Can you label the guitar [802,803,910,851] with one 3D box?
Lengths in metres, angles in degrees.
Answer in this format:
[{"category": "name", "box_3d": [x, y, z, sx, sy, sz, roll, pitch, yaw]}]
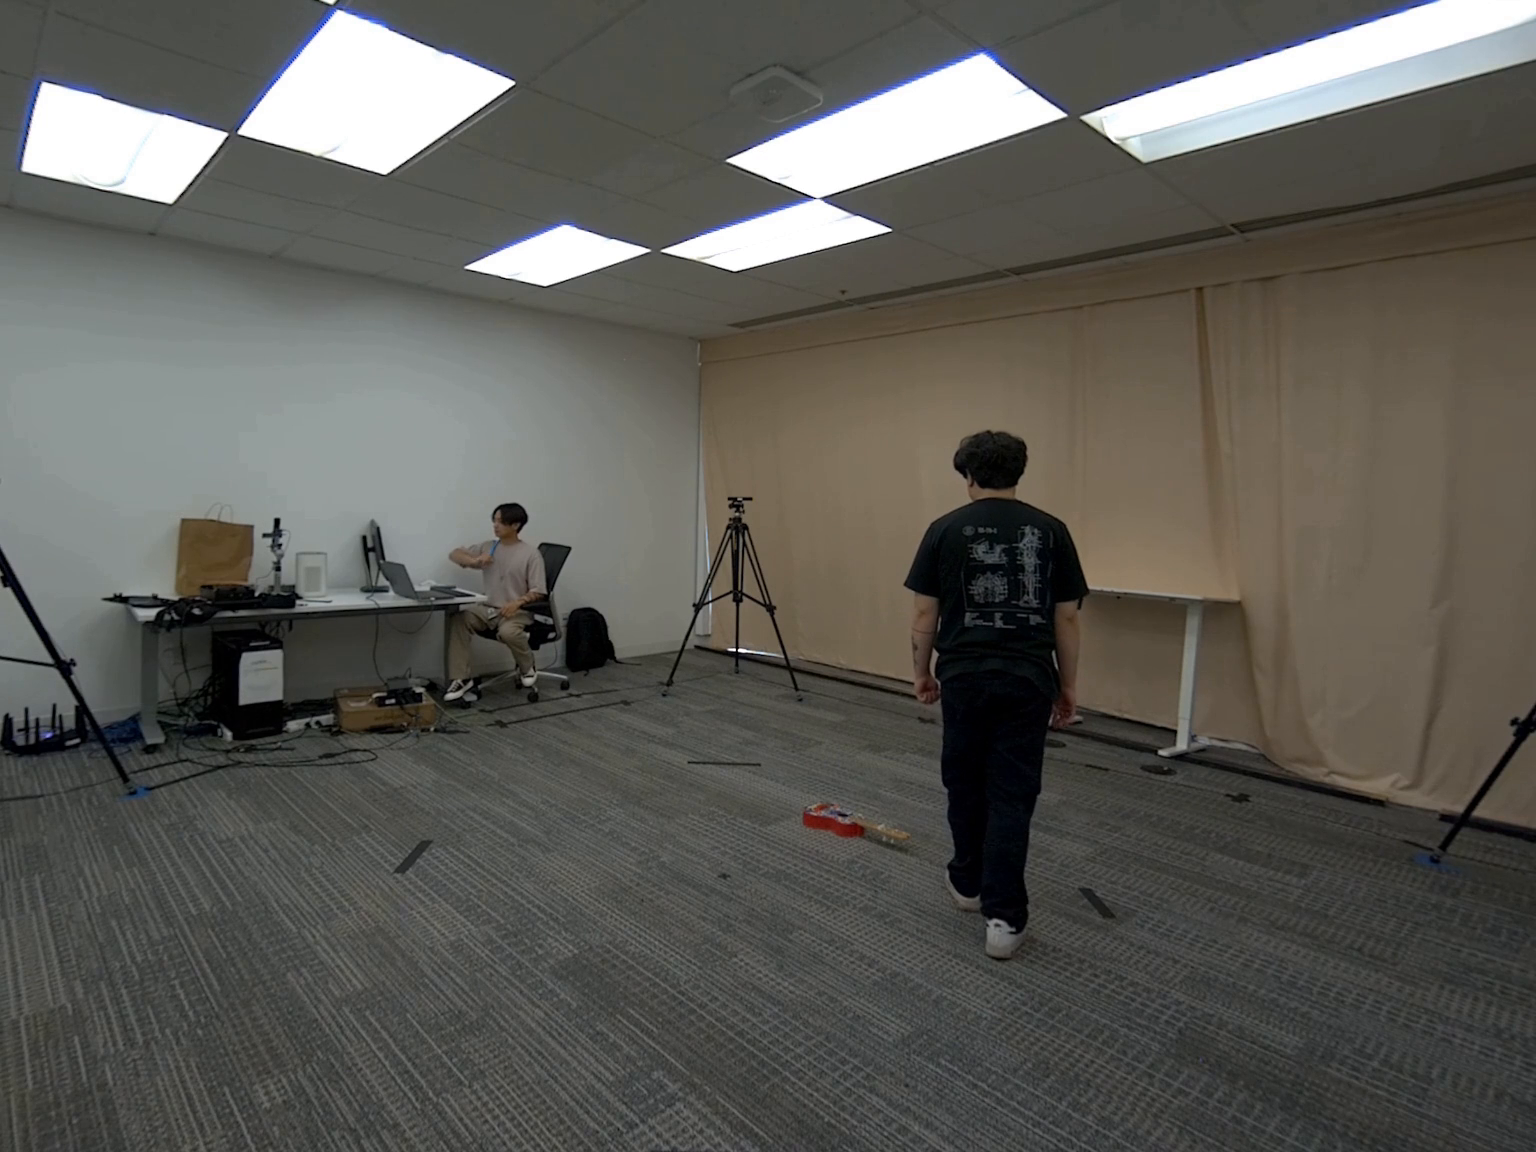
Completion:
[{"category": "guitar", "box_3d": [0.343, 1.050, 3.521, 0.188, 0.070, 0.510, -1, 5, -38]}]
